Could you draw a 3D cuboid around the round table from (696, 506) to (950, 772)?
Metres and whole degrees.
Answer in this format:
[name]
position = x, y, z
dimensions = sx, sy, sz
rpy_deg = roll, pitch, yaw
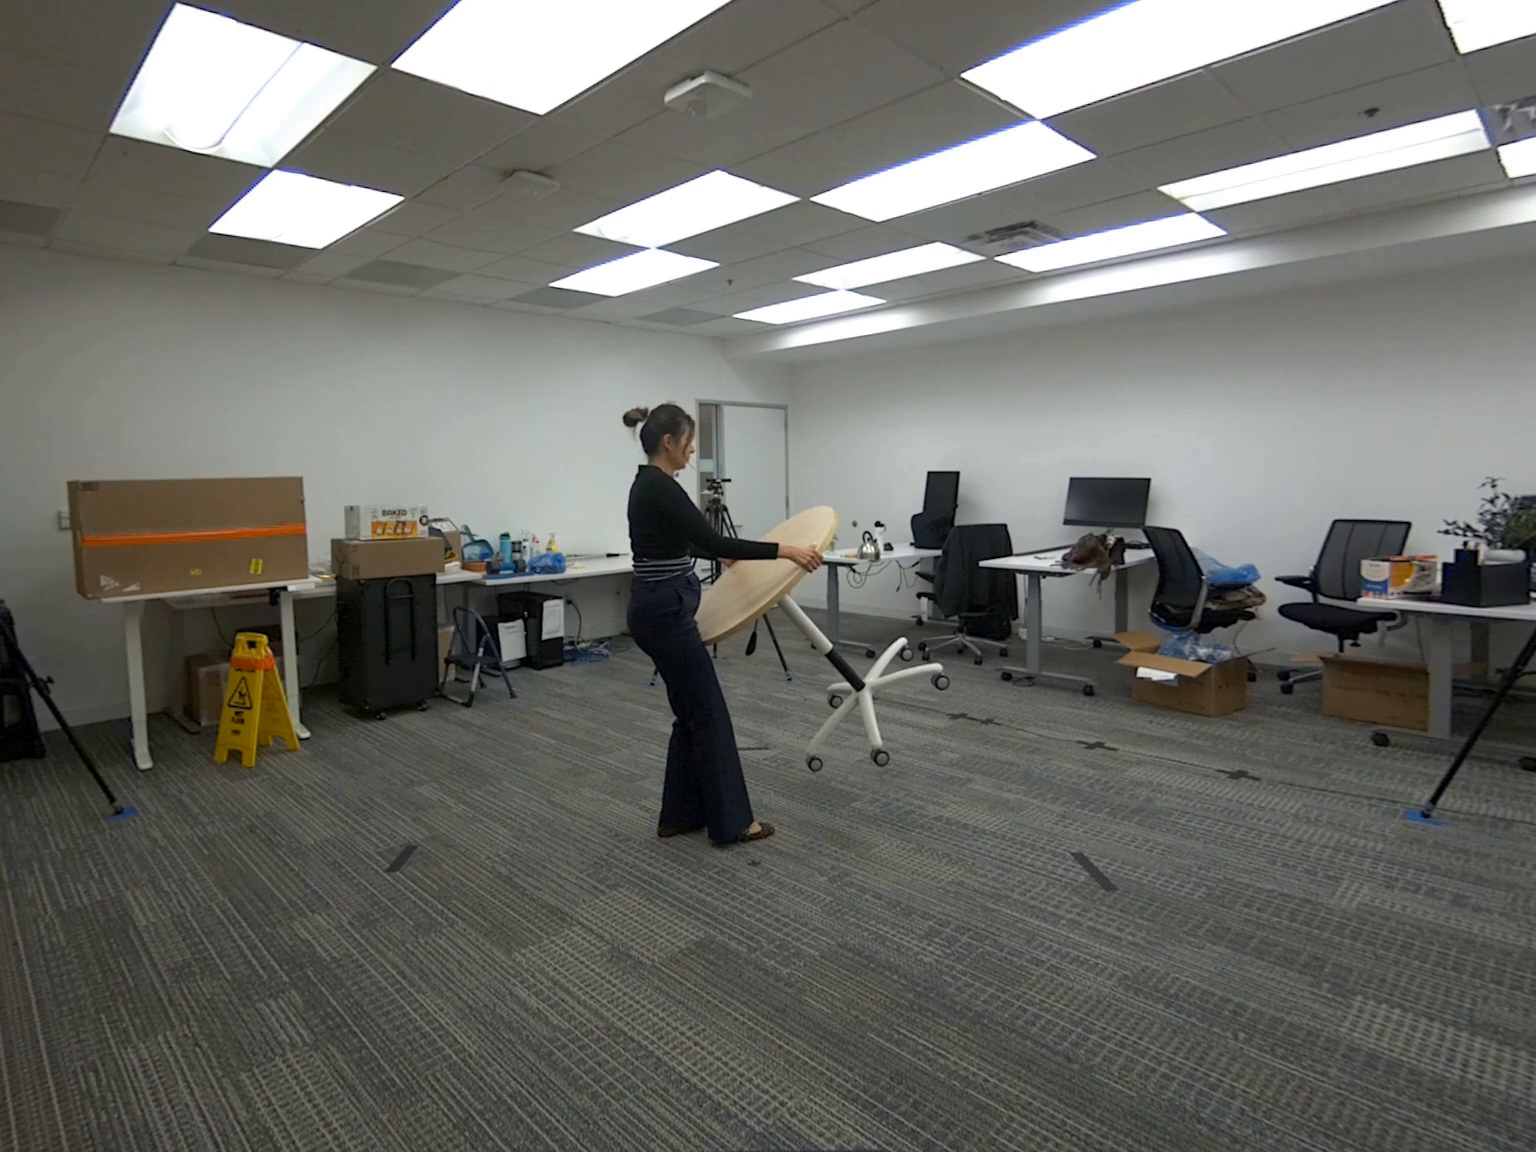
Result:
[round table]
position = 0.219, 0.272, 3.456
dimensions = 0.765, 0.781, 0.776
rpy_deg = -39, 14, 10
